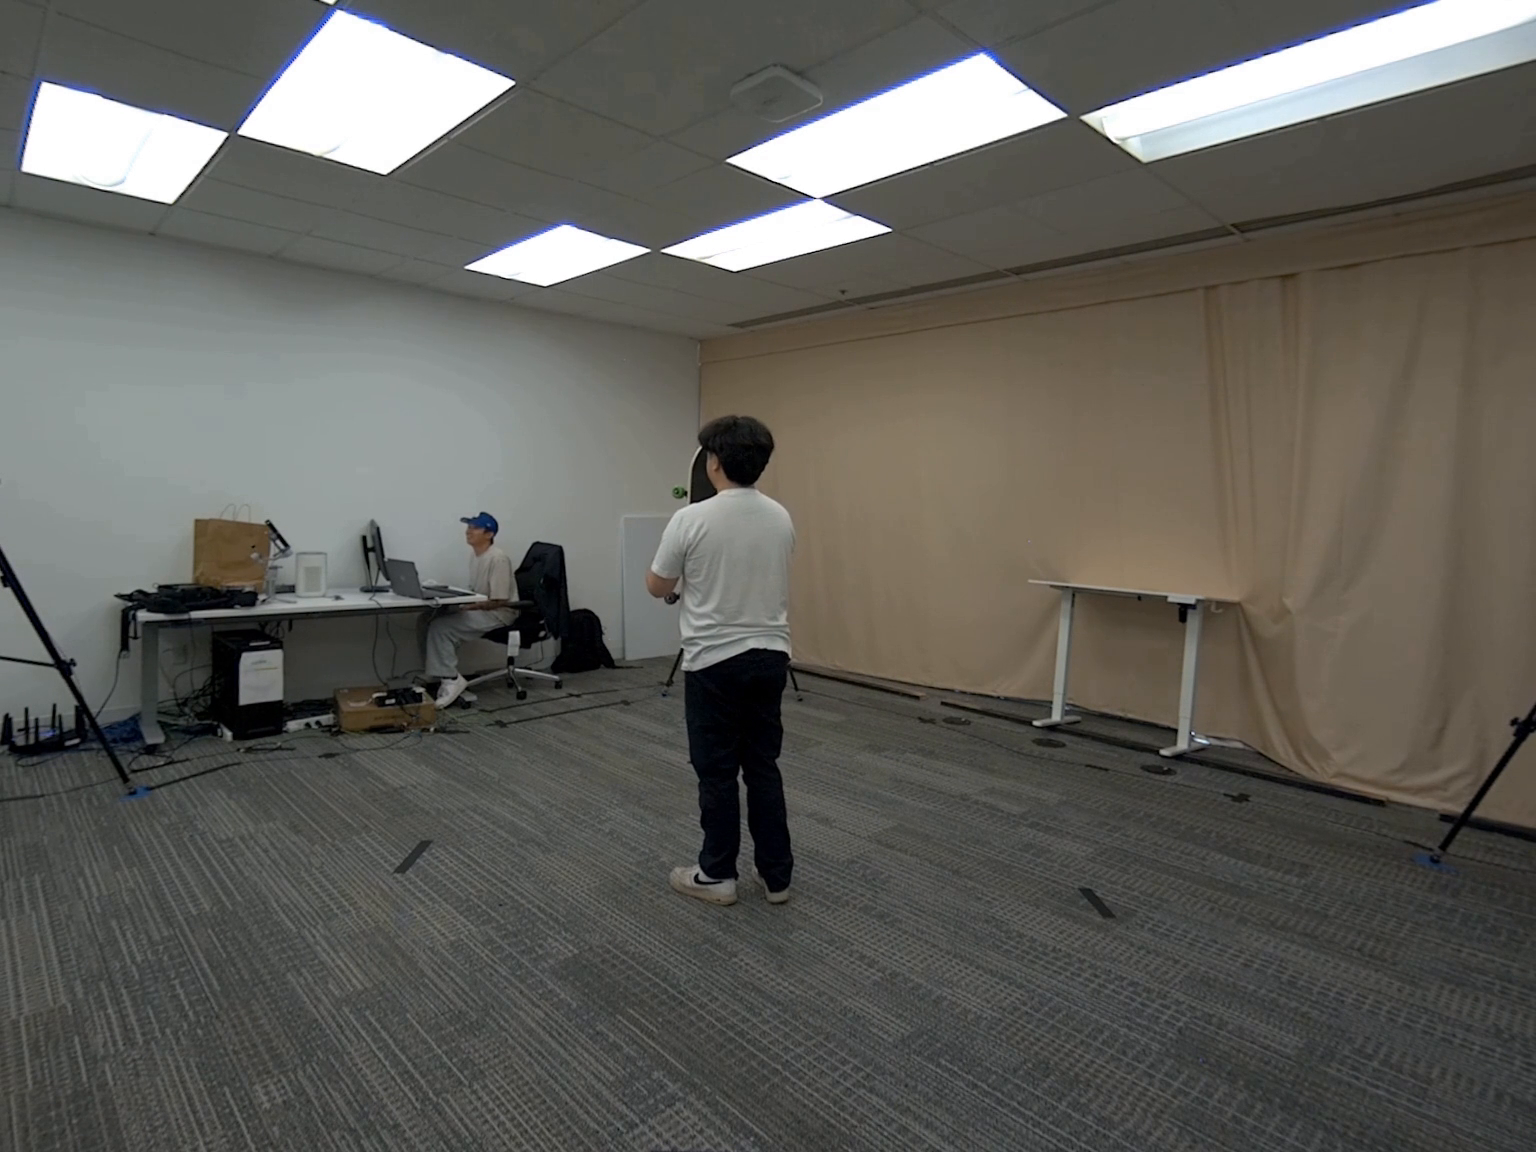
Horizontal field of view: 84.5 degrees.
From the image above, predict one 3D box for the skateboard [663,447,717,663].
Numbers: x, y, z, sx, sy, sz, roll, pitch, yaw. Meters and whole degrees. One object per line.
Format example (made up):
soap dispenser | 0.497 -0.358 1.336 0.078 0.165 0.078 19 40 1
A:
skateboard | -0.291 -0.112 3.189 0.112 0.786 0.189 4 -1 27
